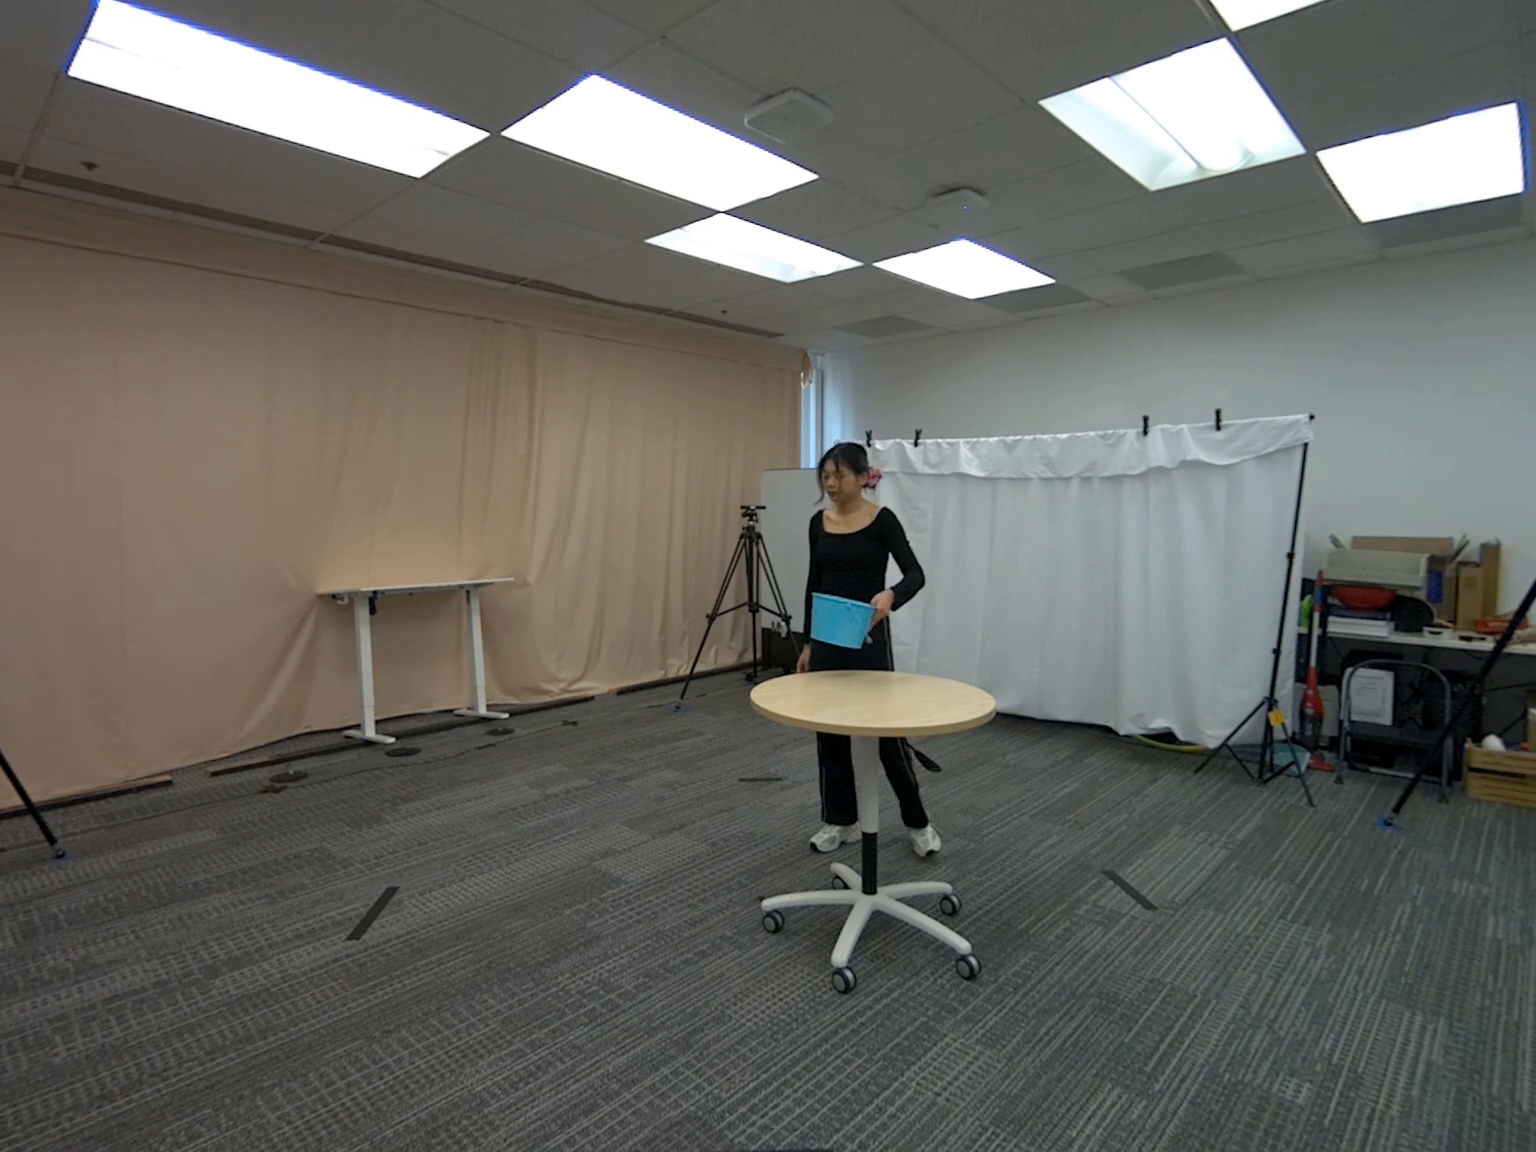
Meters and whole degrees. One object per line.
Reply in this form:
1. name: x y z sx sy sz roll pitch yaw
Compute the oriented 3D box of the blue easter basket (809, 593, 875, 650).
1. blue easter basket: 0.267 0.160 2.972 0.243 0.156 0.244 10 1 -2
